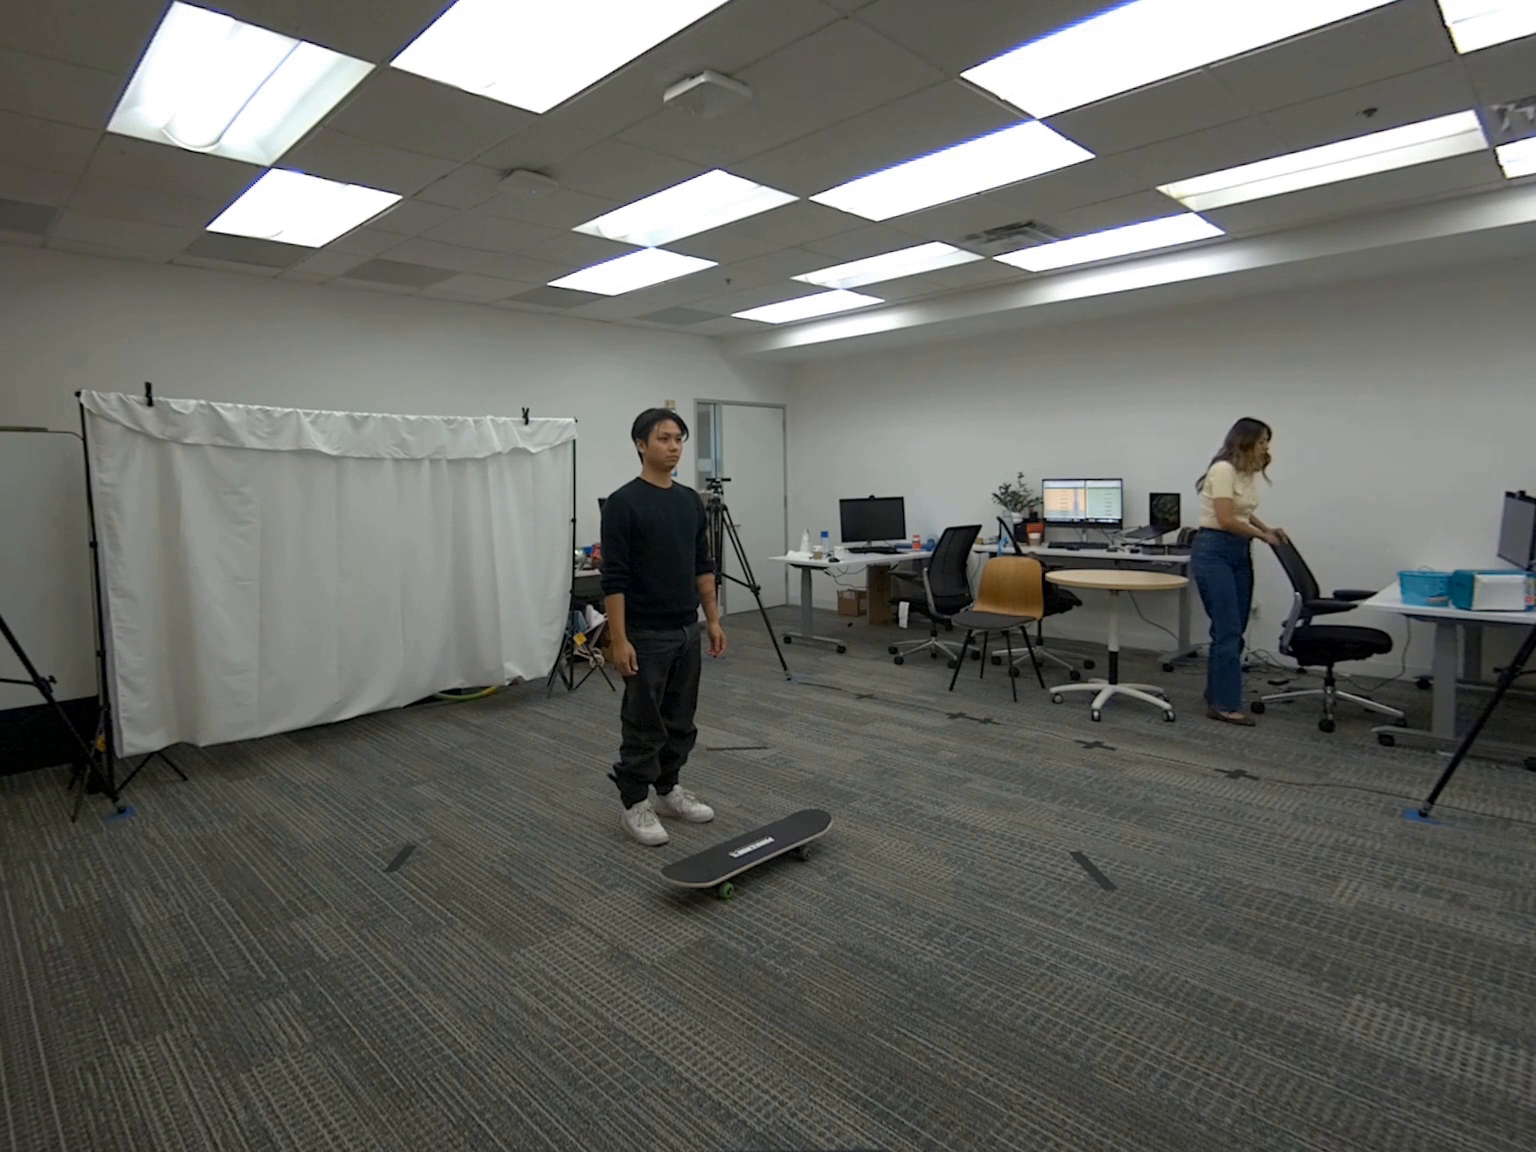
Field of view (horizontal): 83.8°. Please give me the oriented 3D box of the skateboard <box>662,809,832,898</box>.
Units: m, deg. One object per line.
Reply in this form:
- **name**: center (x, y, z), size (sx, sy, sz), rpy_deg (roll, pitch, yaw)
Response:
- **skateboard**: center (-0.056, 0.990, 3.042), size (0.199, 0.110, 0.765), rpy_deg (5, 9, 44)
